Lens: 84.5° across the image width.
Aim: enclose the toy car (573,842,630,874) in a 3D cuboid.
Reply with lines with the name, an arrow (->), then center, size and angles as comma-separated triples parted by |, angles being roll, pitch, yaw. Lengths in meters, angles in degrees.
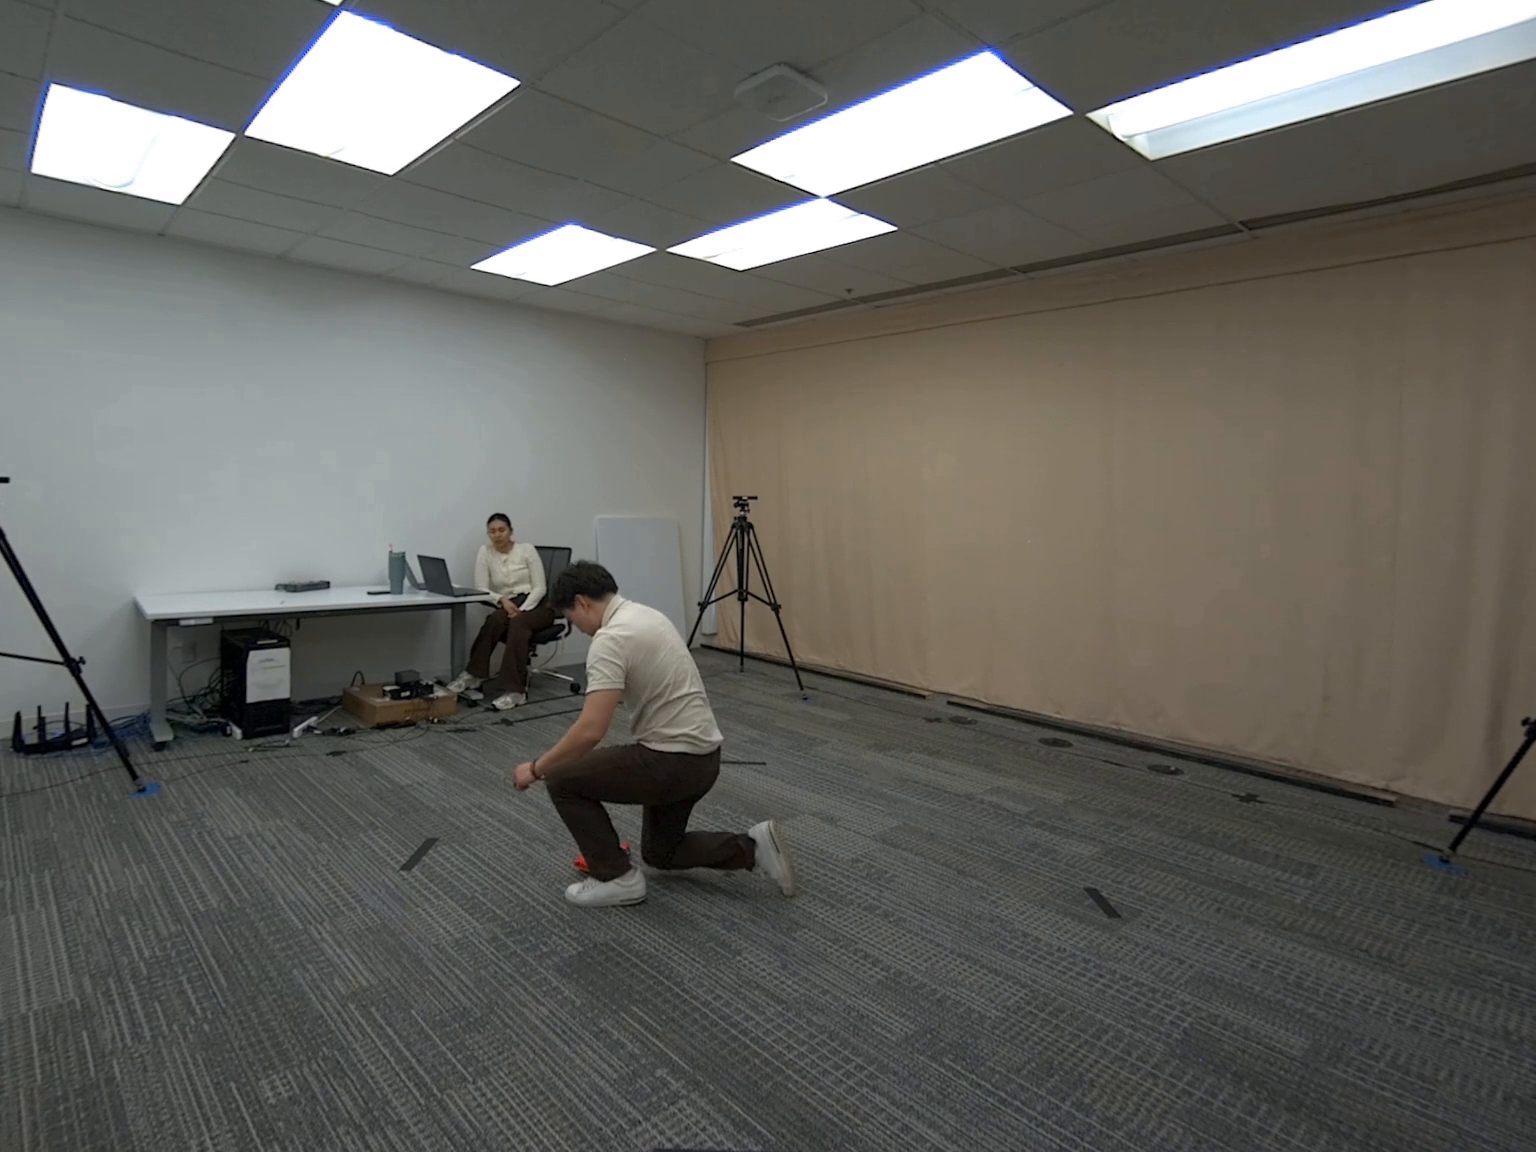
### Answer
toy car -> -0.631, 1.061, 3.155 | 0.133, 0.083, 0.248 | 4, -4, 27
